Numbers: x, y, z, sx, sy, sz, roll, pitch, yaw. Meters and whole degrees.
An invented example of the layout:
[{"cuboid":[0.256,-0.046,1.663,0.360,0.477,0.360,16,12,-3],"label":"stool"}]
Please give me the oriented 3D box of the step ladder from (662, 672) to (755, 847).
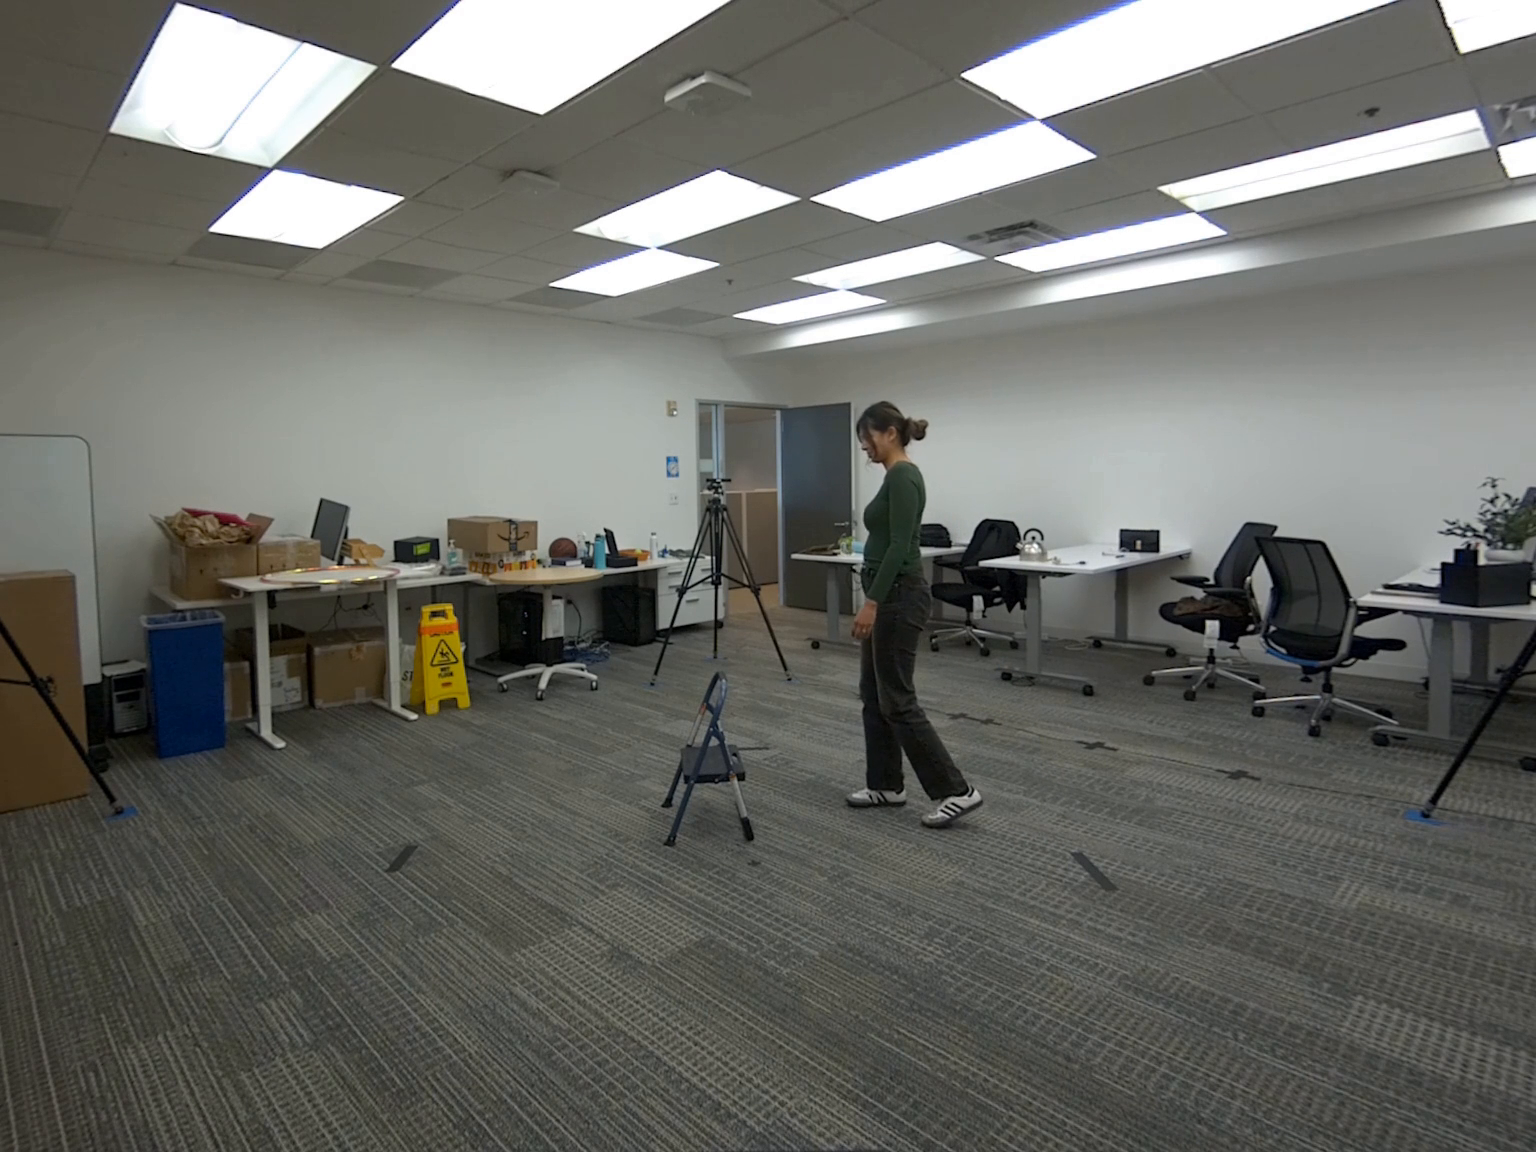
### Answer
[{"cuboid":[-0.249,0.707,3.464,0.347,0.604,0.435,-1,5,-7],"label":"step ladder"}]
